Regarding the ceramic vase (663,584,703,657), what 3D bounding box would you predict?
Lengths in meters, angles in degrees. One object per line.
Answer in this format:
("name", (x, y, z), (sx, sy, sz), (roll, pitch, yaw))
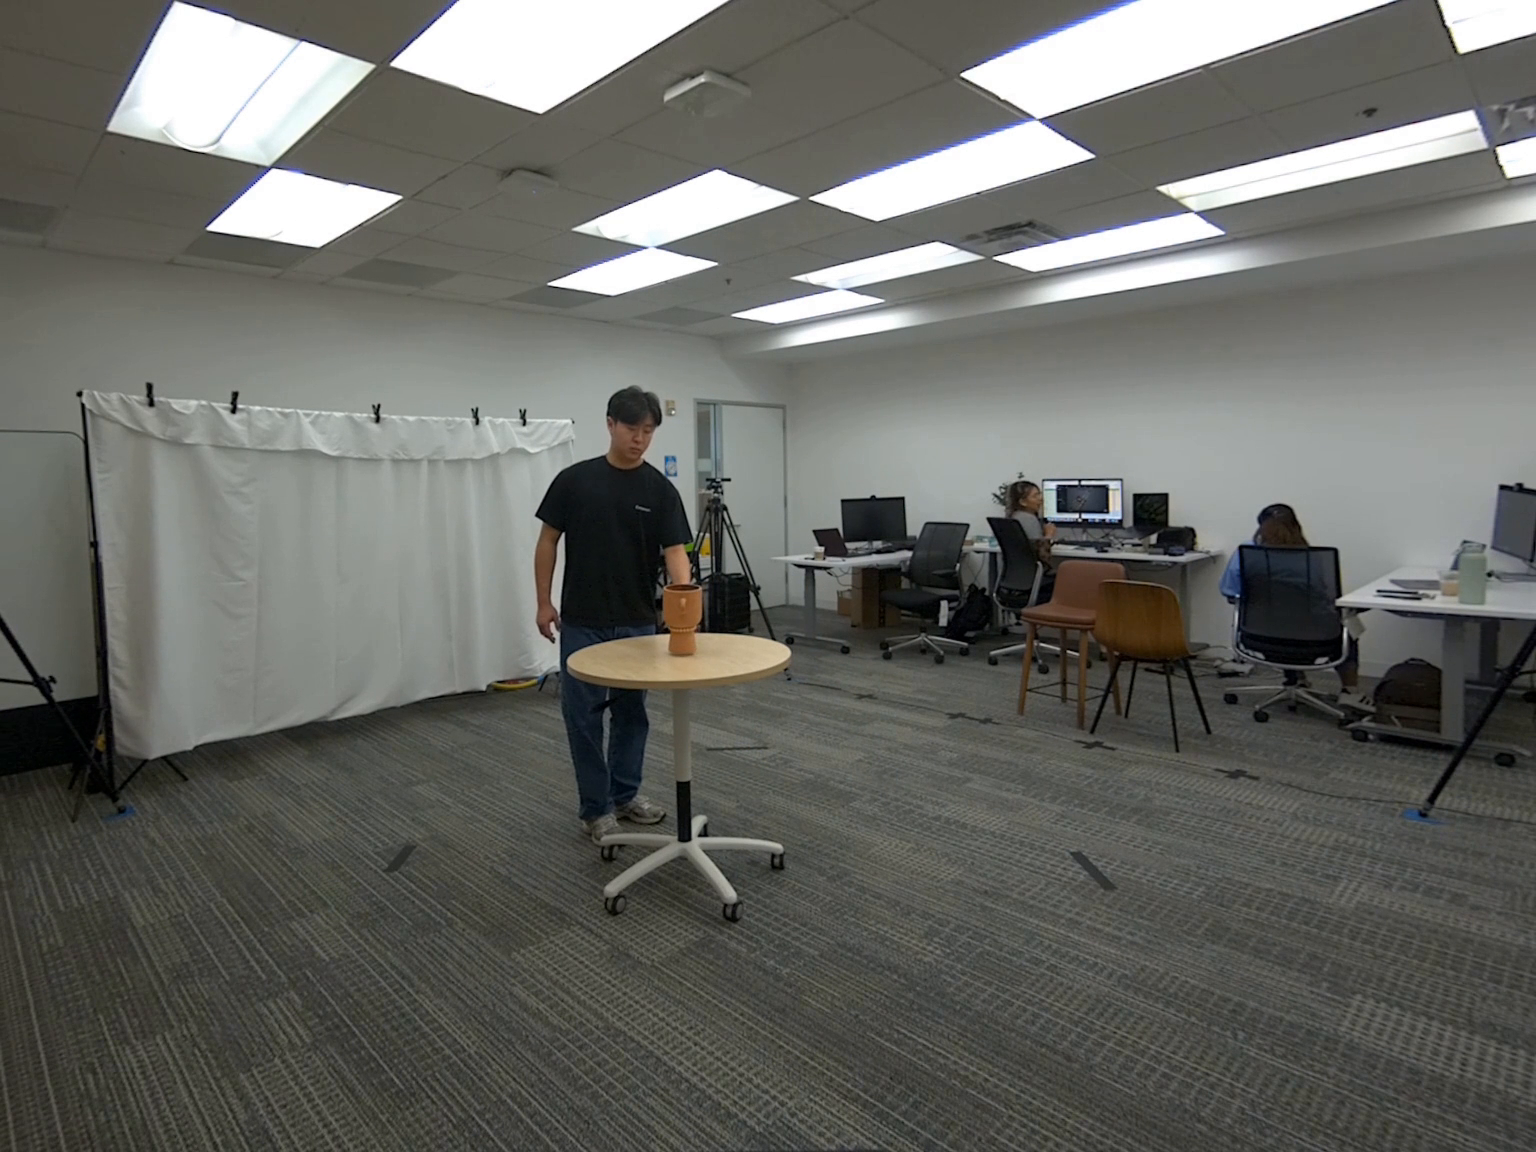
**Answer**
("ceramic vase", (-0.282, 0.146, 2.922), (0.139, 0.218, 0.155), (6, 10, 35))
